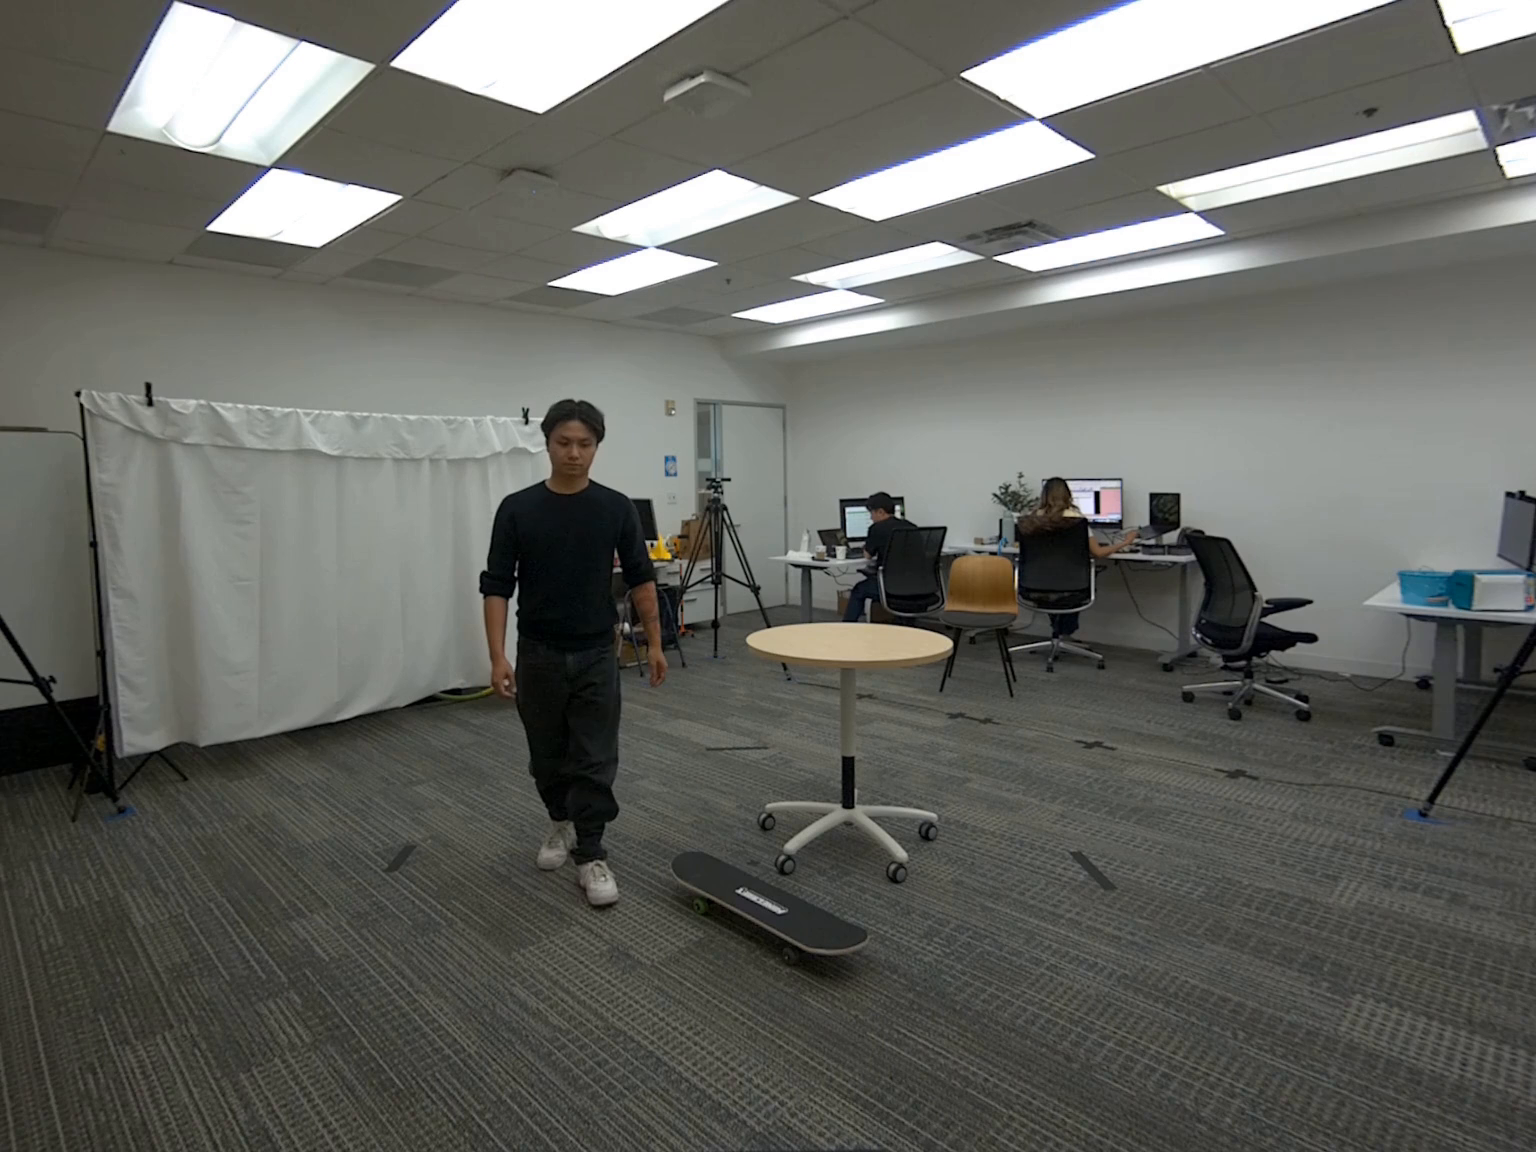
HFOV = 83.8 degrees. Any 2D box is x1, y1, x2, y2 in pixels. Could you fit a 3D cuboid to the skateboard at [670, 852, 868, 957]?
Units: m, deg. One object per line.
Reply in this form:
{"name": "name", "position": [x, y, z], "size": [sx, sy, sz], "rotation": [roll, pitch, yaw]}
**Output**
{"name": "skateboard", "position": [-0.014, 1.044, 2.647], "size": [0.188, 0.110, 0.810], "rotation": [-8, 9, -43]}
